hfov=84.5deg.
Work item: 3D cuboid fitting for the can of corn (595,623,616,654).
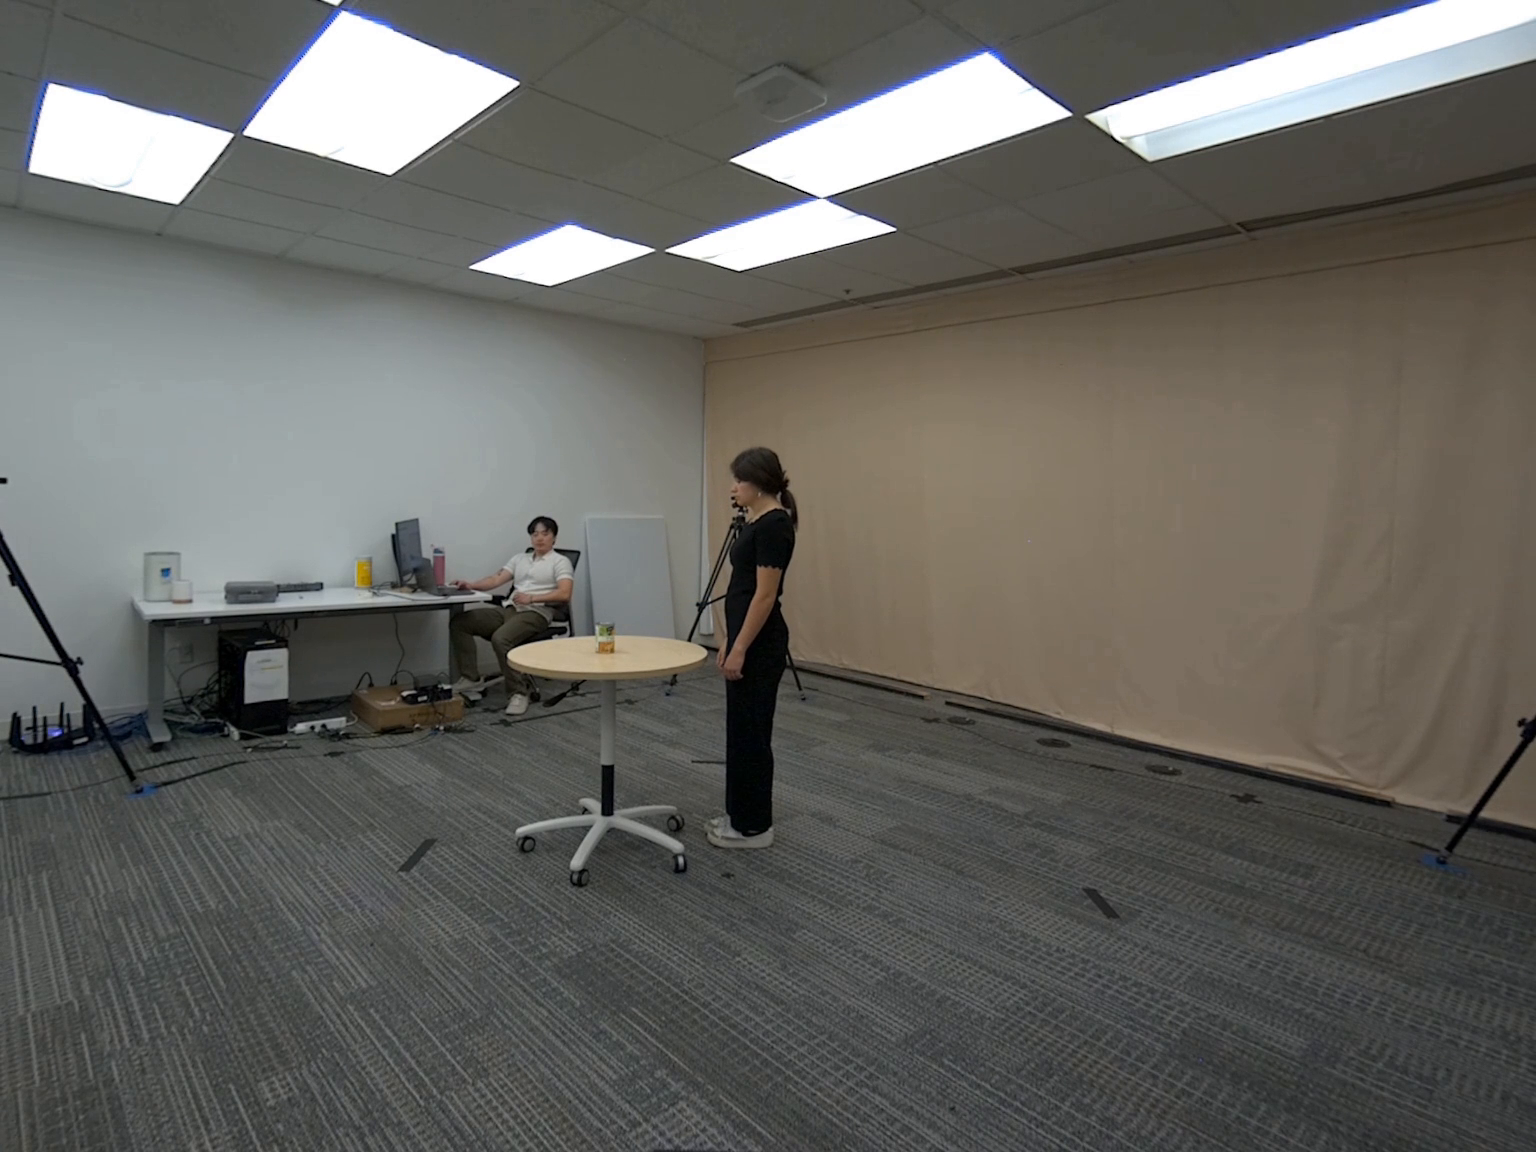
[{"bbox_3d":[-0.643,0.243,3.260,0.074,0.111,0.074,0,1,-1],"label":"can of corn"}]
